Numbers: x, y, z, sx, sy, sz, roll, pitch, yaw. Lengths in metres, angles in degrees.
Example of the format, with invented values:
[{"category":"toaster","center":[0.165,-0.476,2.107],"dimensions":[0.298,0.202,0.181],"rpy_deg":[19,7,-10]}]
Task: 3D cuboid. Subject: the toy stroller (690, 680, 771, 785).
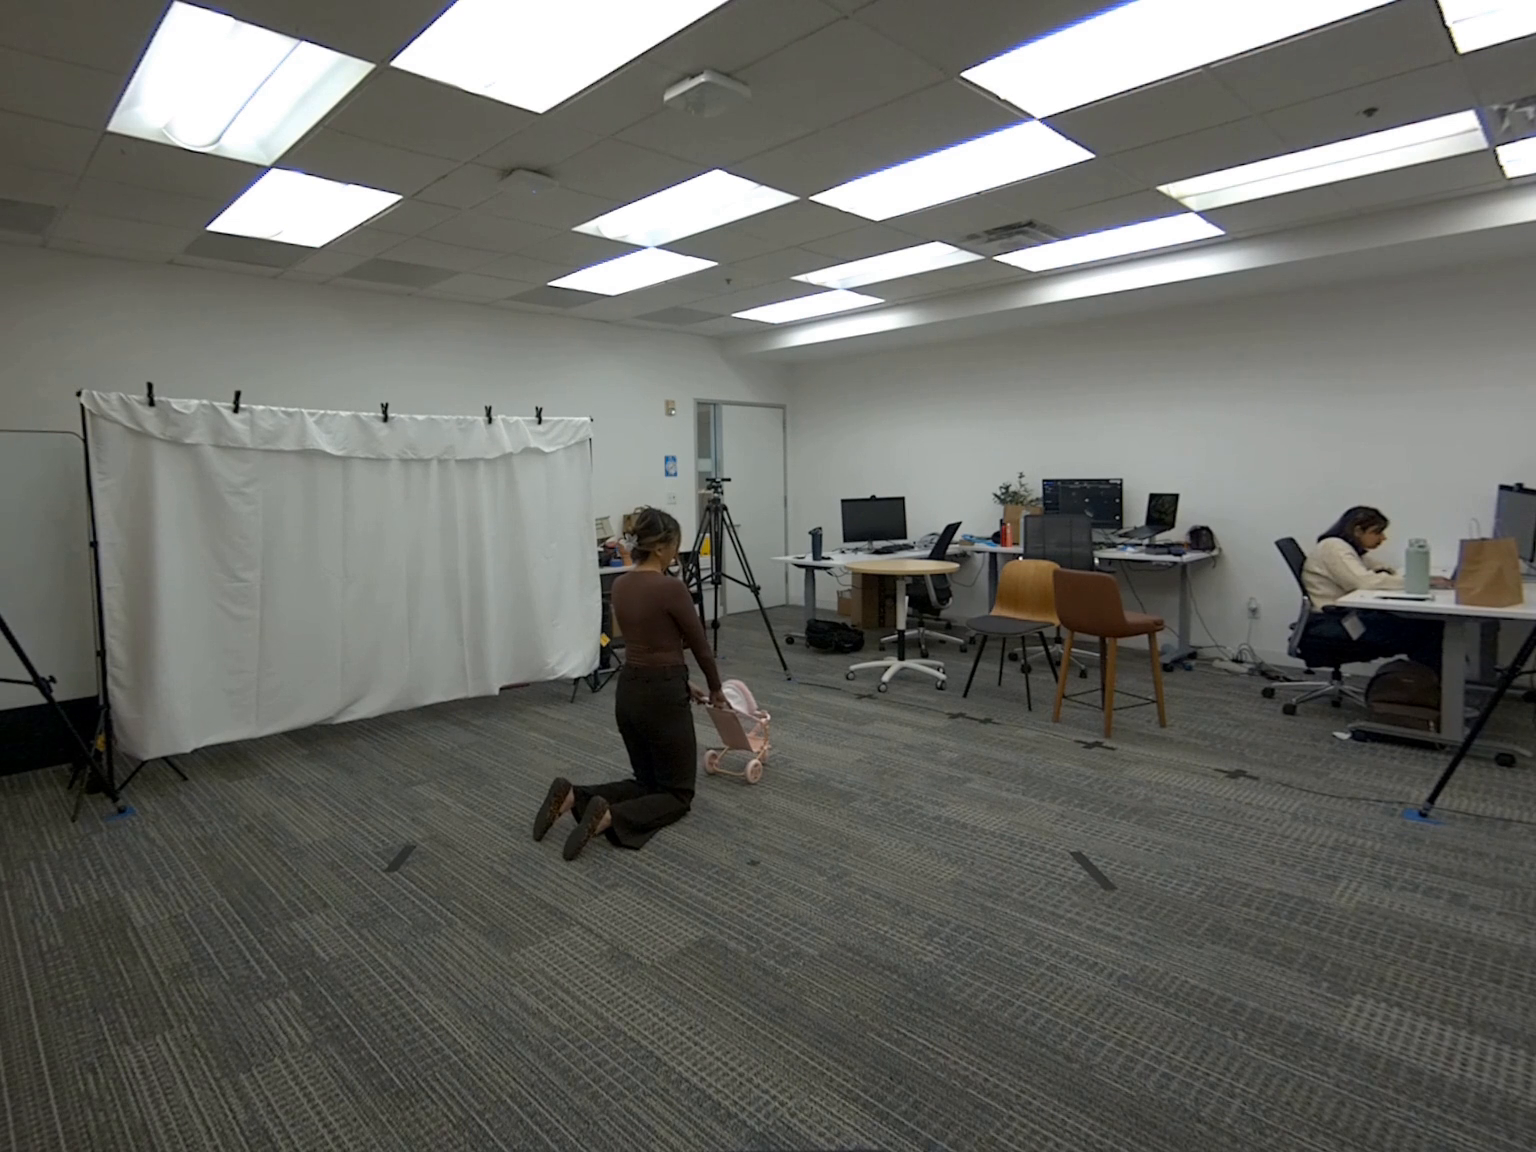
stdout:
[{"category":"toy stroller","center":[-0.136,0.718,4.031],"dimensions":[0.290,0.525,0.337],"rpy_deg":[3,24,40]}]
